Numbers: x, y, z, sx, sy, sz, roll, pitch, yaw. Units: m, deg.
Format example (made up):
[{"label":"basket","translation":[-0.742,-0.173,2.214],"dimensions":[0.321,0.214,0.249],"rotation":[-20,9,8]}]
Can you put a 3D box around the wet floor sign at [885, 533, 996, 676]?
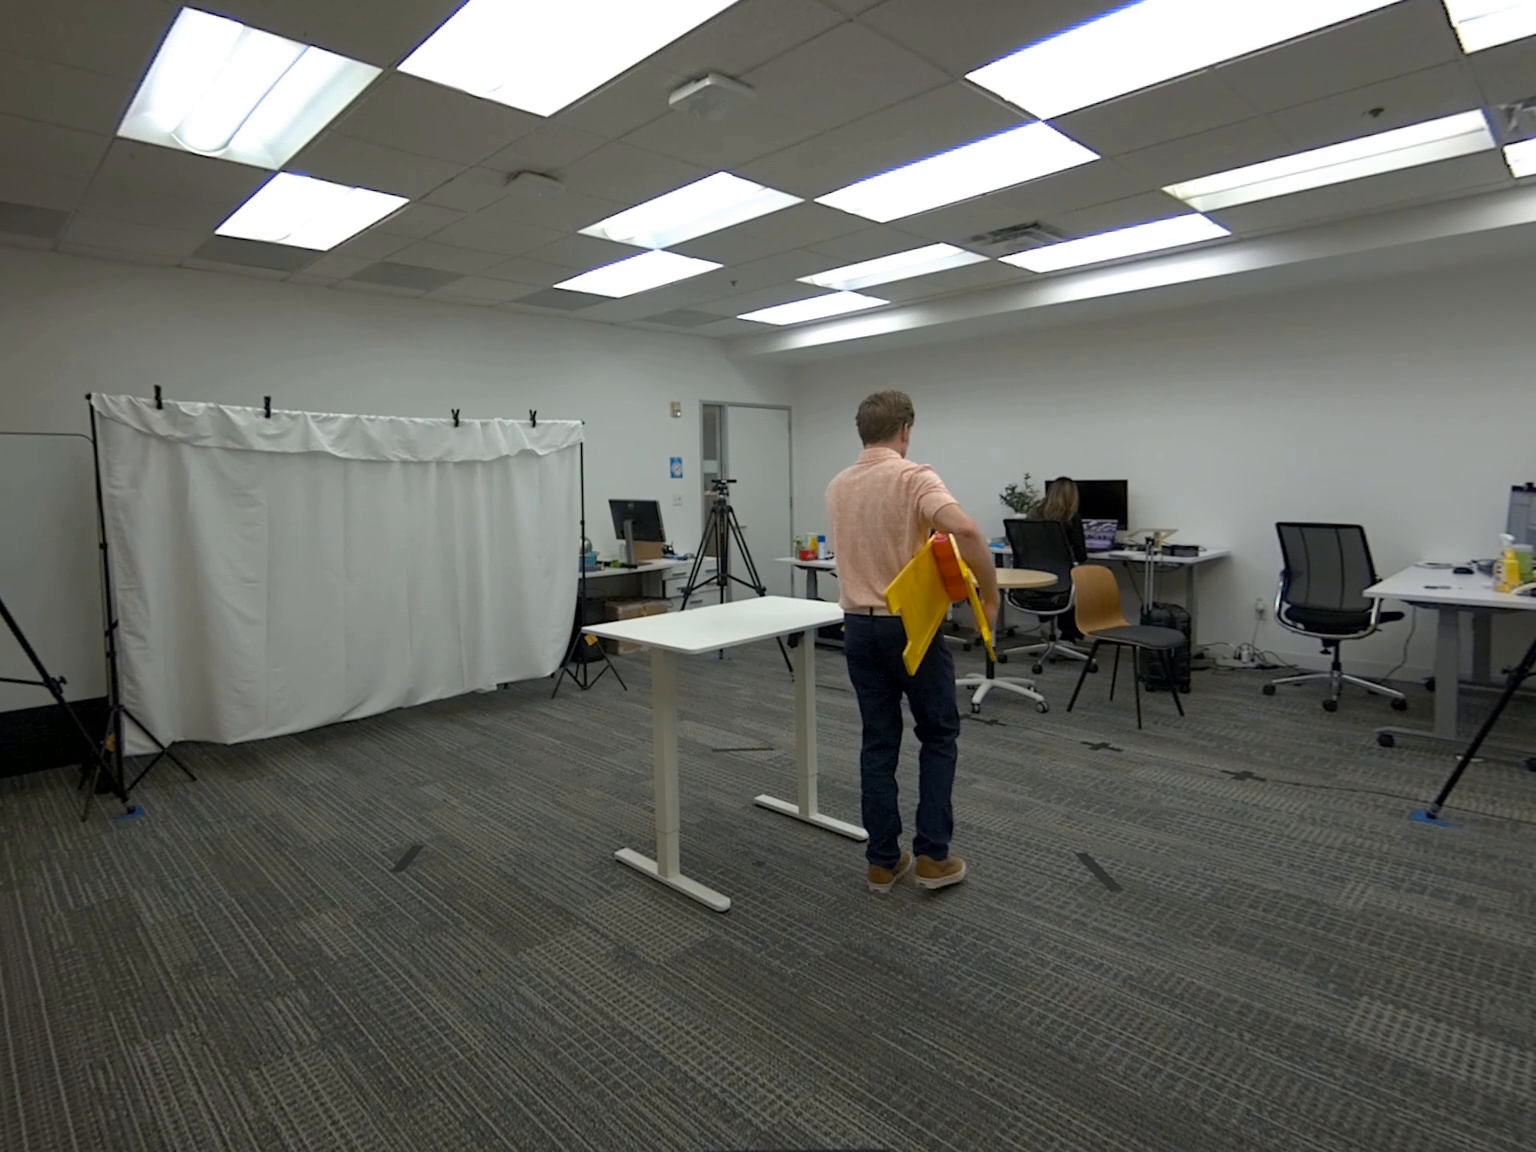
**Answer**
[{"label":"wet floor sign","translation":[0.588,0.034,2.760],"dimensions":[0.294,0.277,0.647],"rotation":[-14,17,22]}]
